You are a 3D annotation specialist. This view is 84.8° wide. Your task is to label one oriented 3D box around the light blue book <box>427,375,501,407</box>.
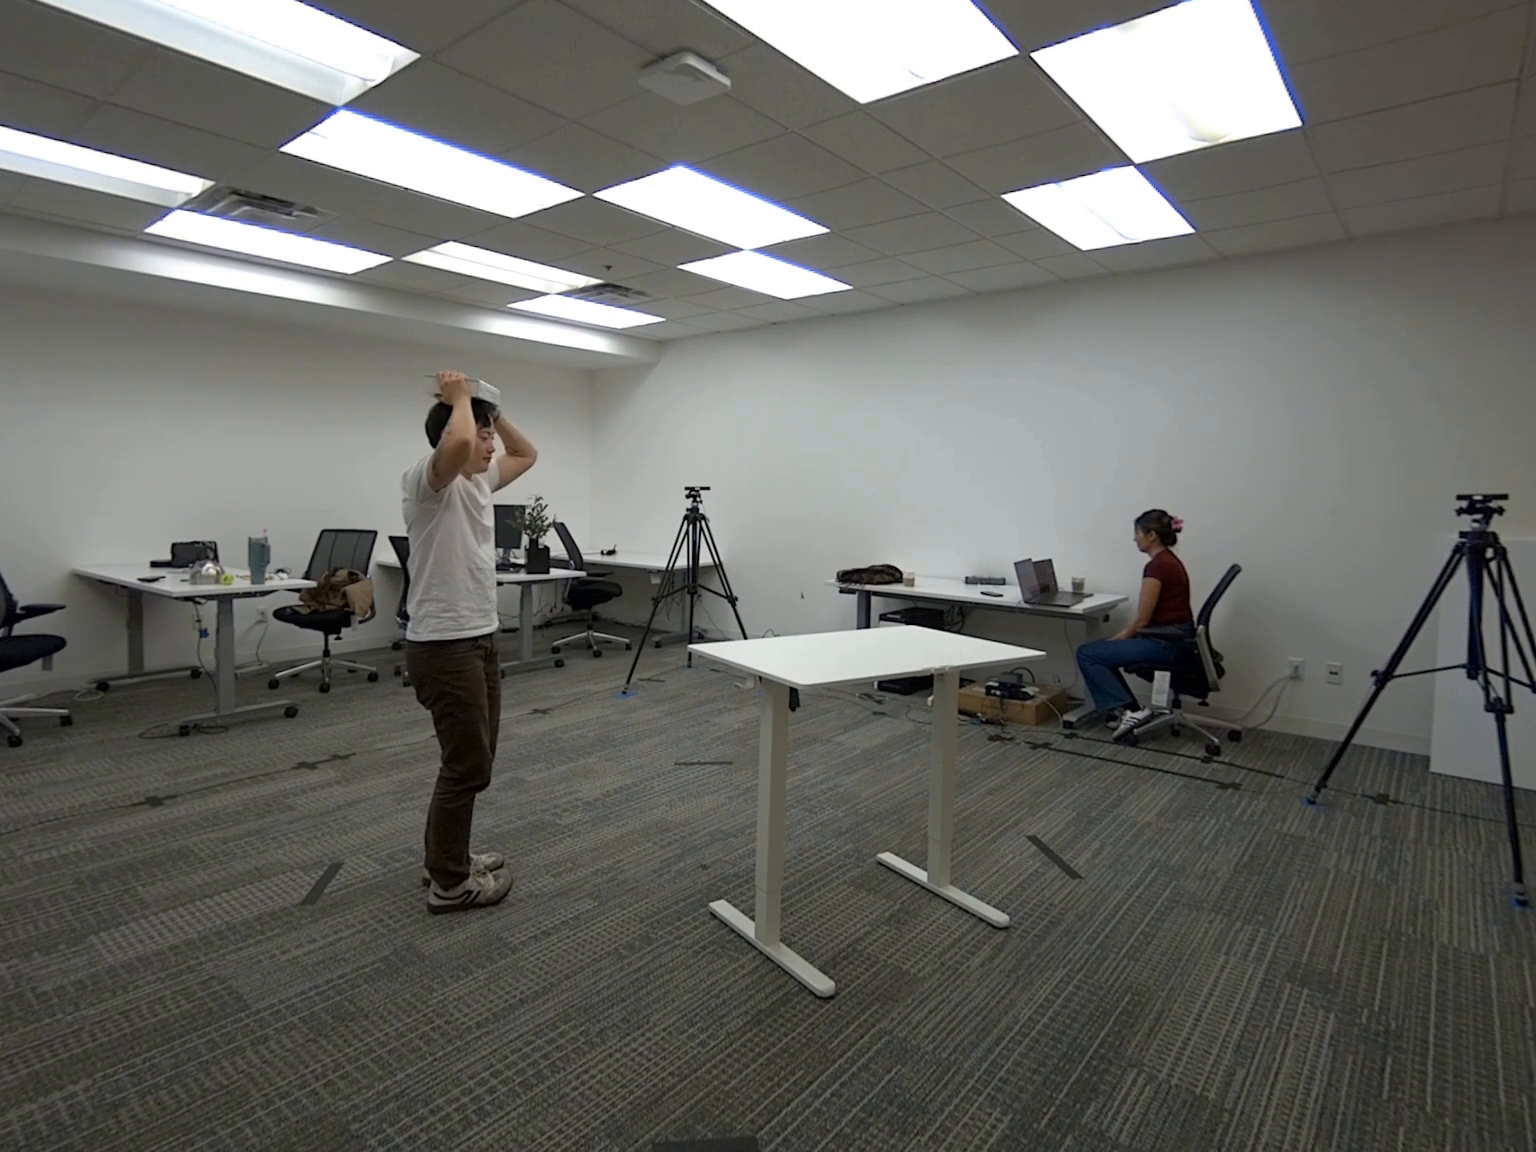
[{"bbox_3d":[-1.031,-0.619,2.839,0.190,0.059,0.263,4,4,-5],"label":"light blue book"}]
